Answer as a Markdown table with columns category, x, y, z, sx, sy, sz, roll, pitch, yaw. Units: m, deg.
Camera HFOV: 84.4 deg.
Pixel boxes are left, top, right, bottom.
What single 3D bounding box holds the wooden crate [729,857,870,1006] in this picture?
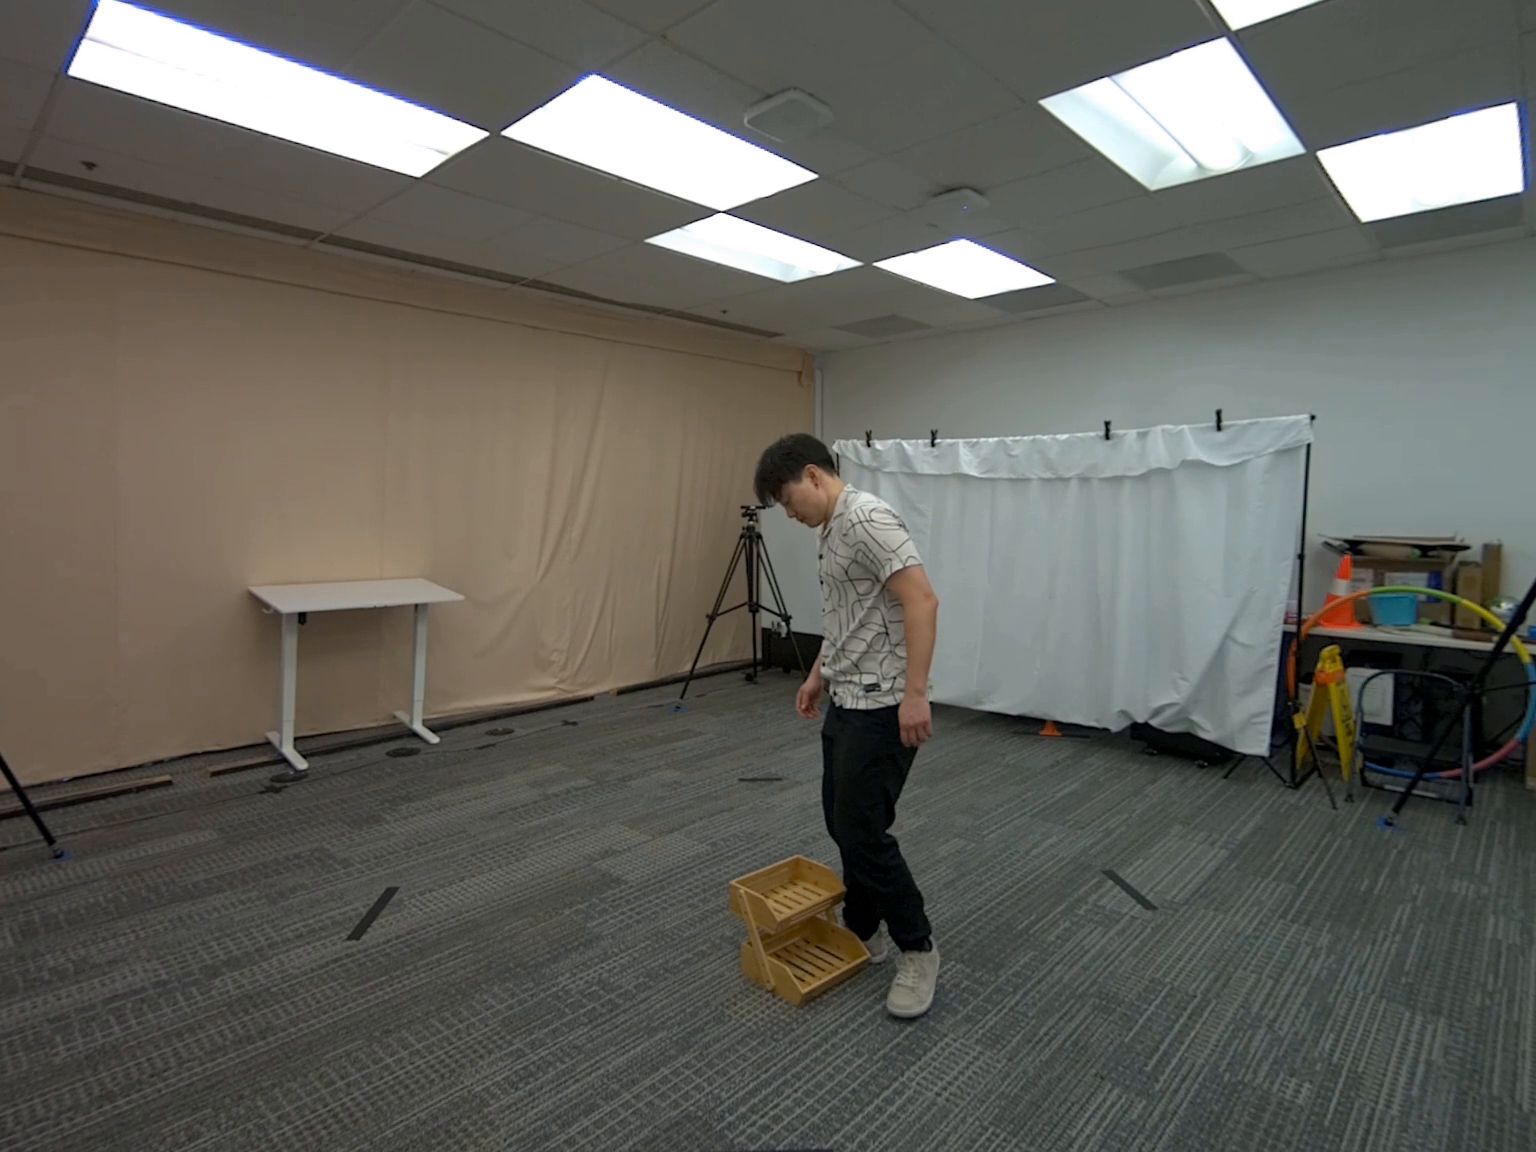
| category | x | y | z | sx | sy | sz | roll | pitch | yaw |
| --- | --- | --- | --- | --- | --- | --- | --- | --- | --- |
| wooden crate | 0.104 | 1.047 | 2.526 | 0.314 | 0.273 | 0.312 | -3 | 4 | -43 |
